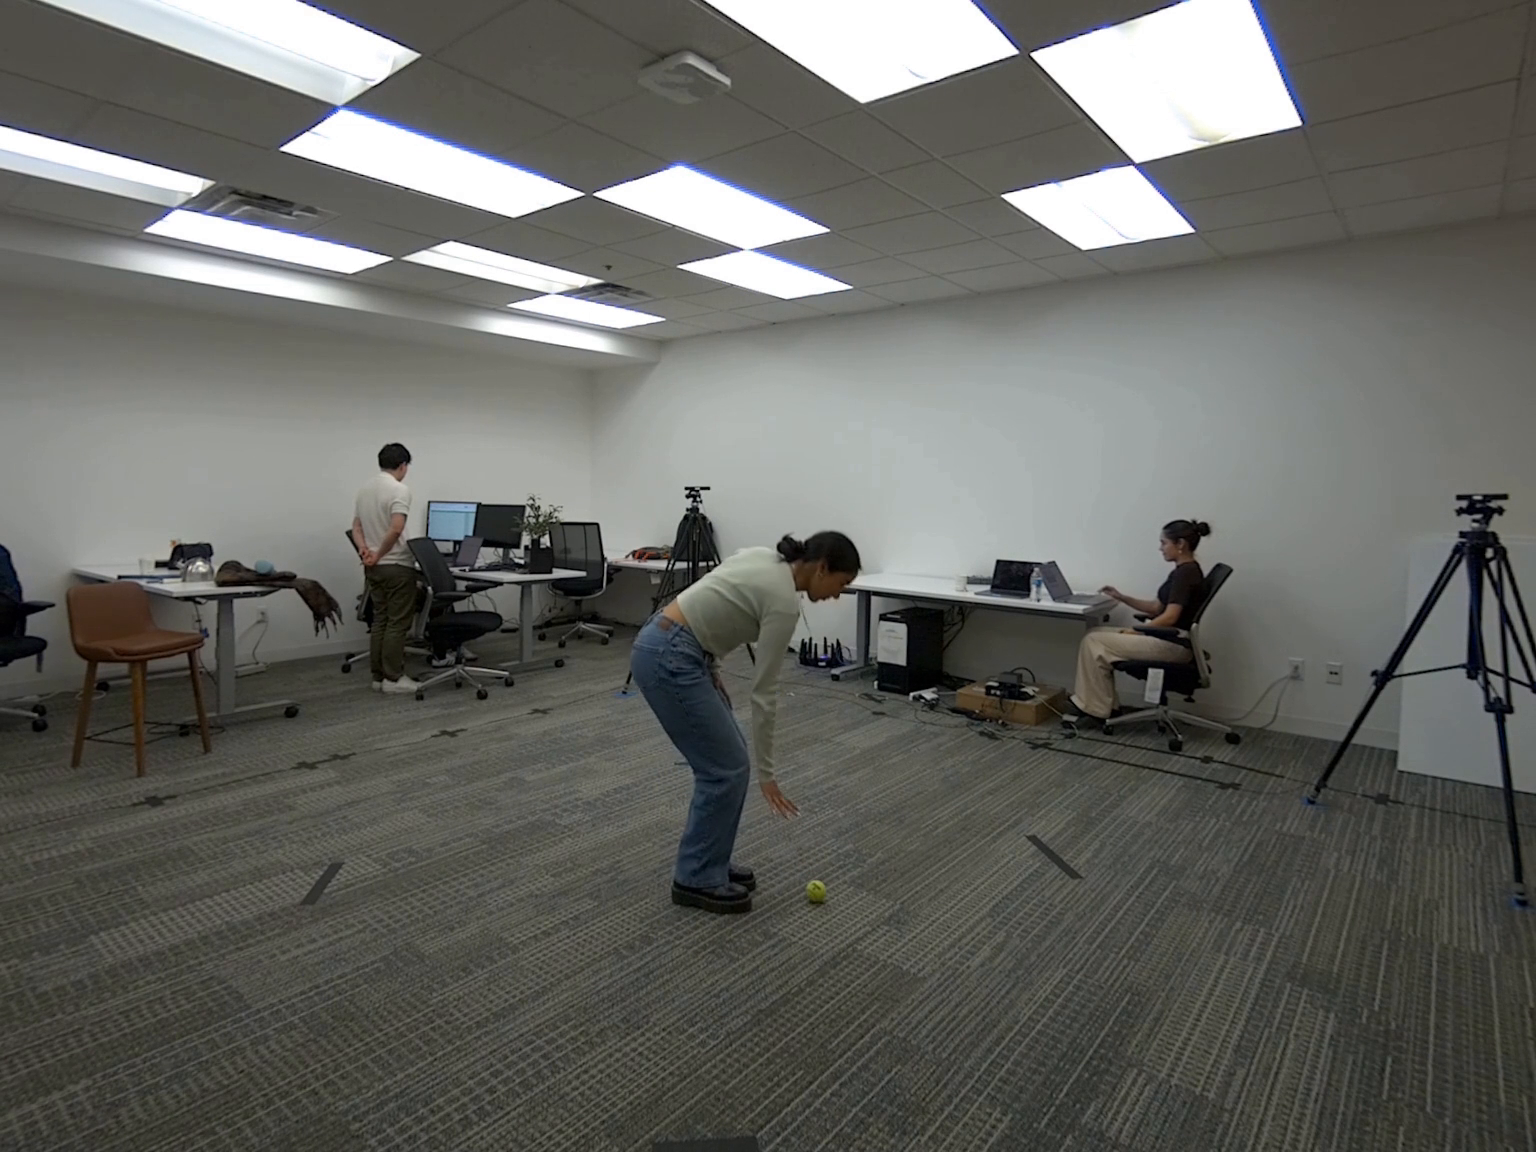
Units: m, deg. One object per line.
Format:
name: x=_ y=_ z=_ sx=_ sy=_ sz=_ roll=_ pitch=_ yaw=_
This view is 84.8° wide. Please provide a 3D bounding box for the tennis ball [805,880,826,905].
tennis ball: x=0.153 y=1.054 z=2.870 sx=0.066 sy=0.066 sz=0.067 roll=1 pitch=4 yaw=-2
